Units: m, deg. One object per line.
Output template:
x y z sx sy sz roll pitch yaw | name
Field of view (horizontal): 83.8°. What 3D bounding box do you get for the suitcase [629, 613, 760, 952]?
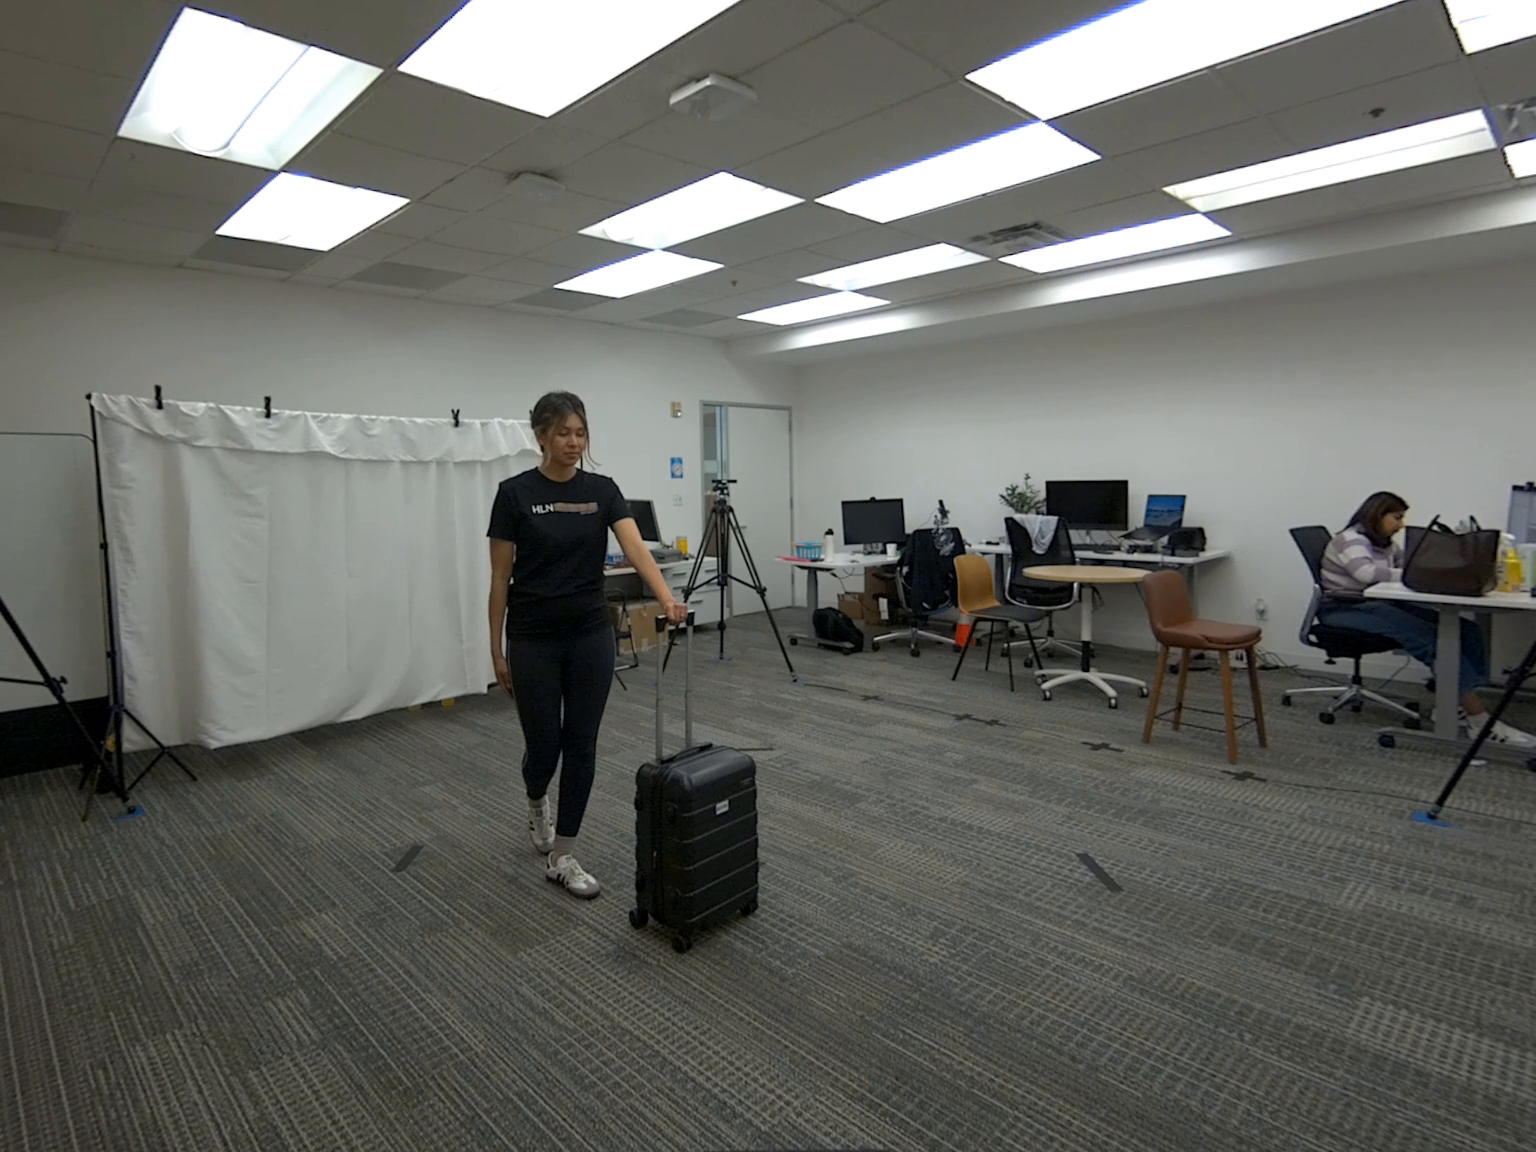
-0.214 0.623 2.671 0.265 0.973 0.374 7 8 42 | suitcase
